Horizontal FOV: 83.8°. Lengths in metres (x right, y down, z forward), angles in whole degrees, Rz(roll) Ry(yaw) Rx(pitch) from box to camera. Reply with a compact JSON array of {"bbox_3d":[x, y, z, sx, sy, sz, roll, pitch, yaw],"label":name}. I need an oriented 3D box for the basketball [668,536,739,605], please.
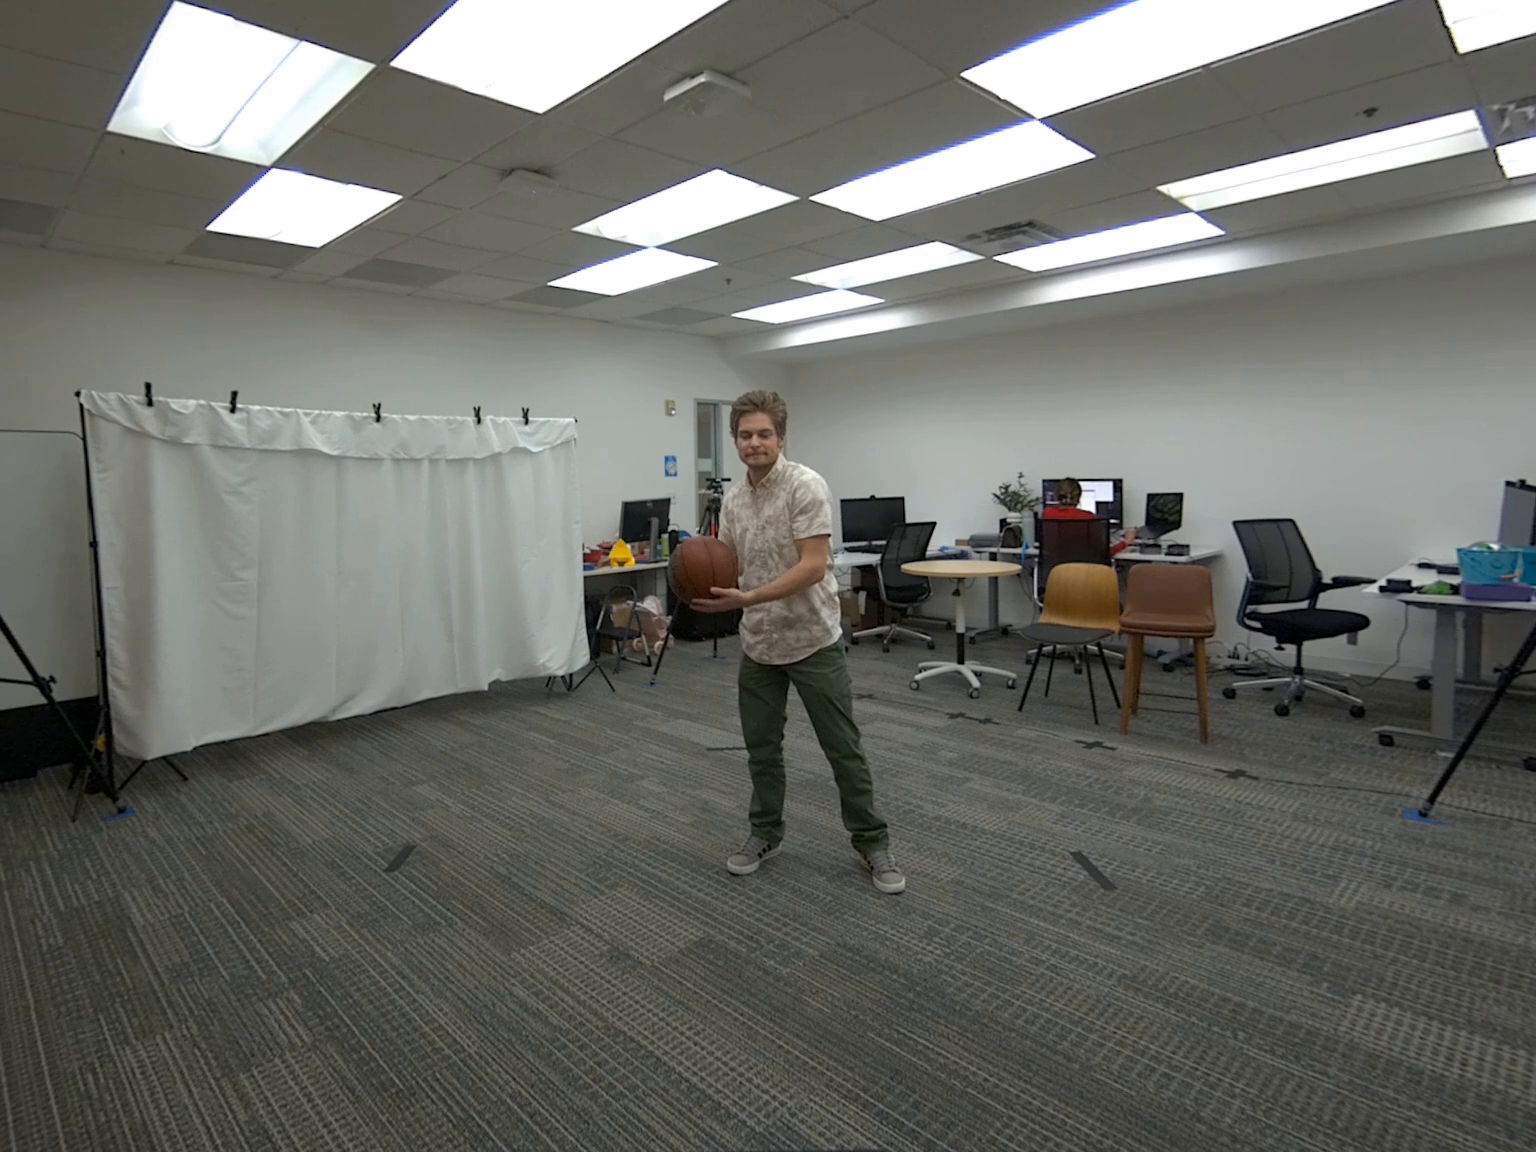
[{"bbox_3d":[-0.209,-0.012,2.854,0.236,0.235,0.237,-1,5,-2],"label":"basketball"}]
